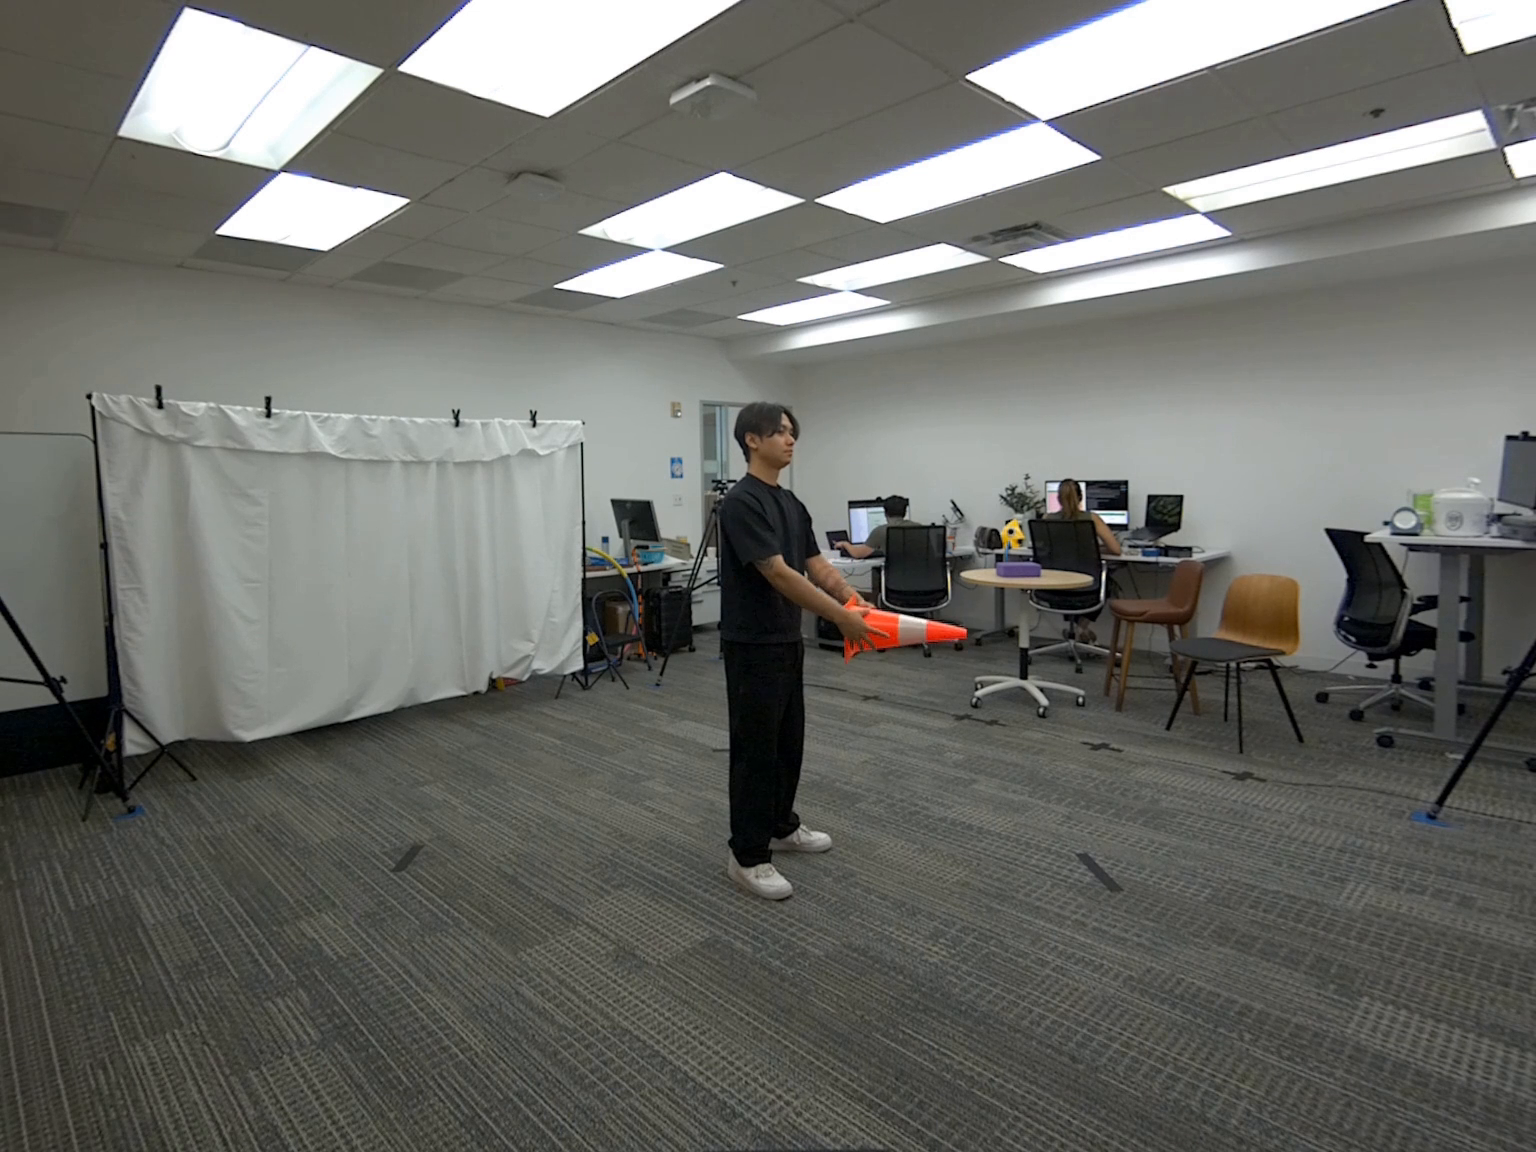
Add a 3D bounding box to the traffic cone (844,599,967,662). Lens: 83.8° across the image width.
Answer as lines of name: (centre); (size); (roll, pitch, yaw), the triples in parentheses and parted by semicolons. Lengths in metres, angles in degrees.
traffic cone: (0.457, 0.174, 2.830); (0.391, 0.202, 0.202); (2, 14, 19)
